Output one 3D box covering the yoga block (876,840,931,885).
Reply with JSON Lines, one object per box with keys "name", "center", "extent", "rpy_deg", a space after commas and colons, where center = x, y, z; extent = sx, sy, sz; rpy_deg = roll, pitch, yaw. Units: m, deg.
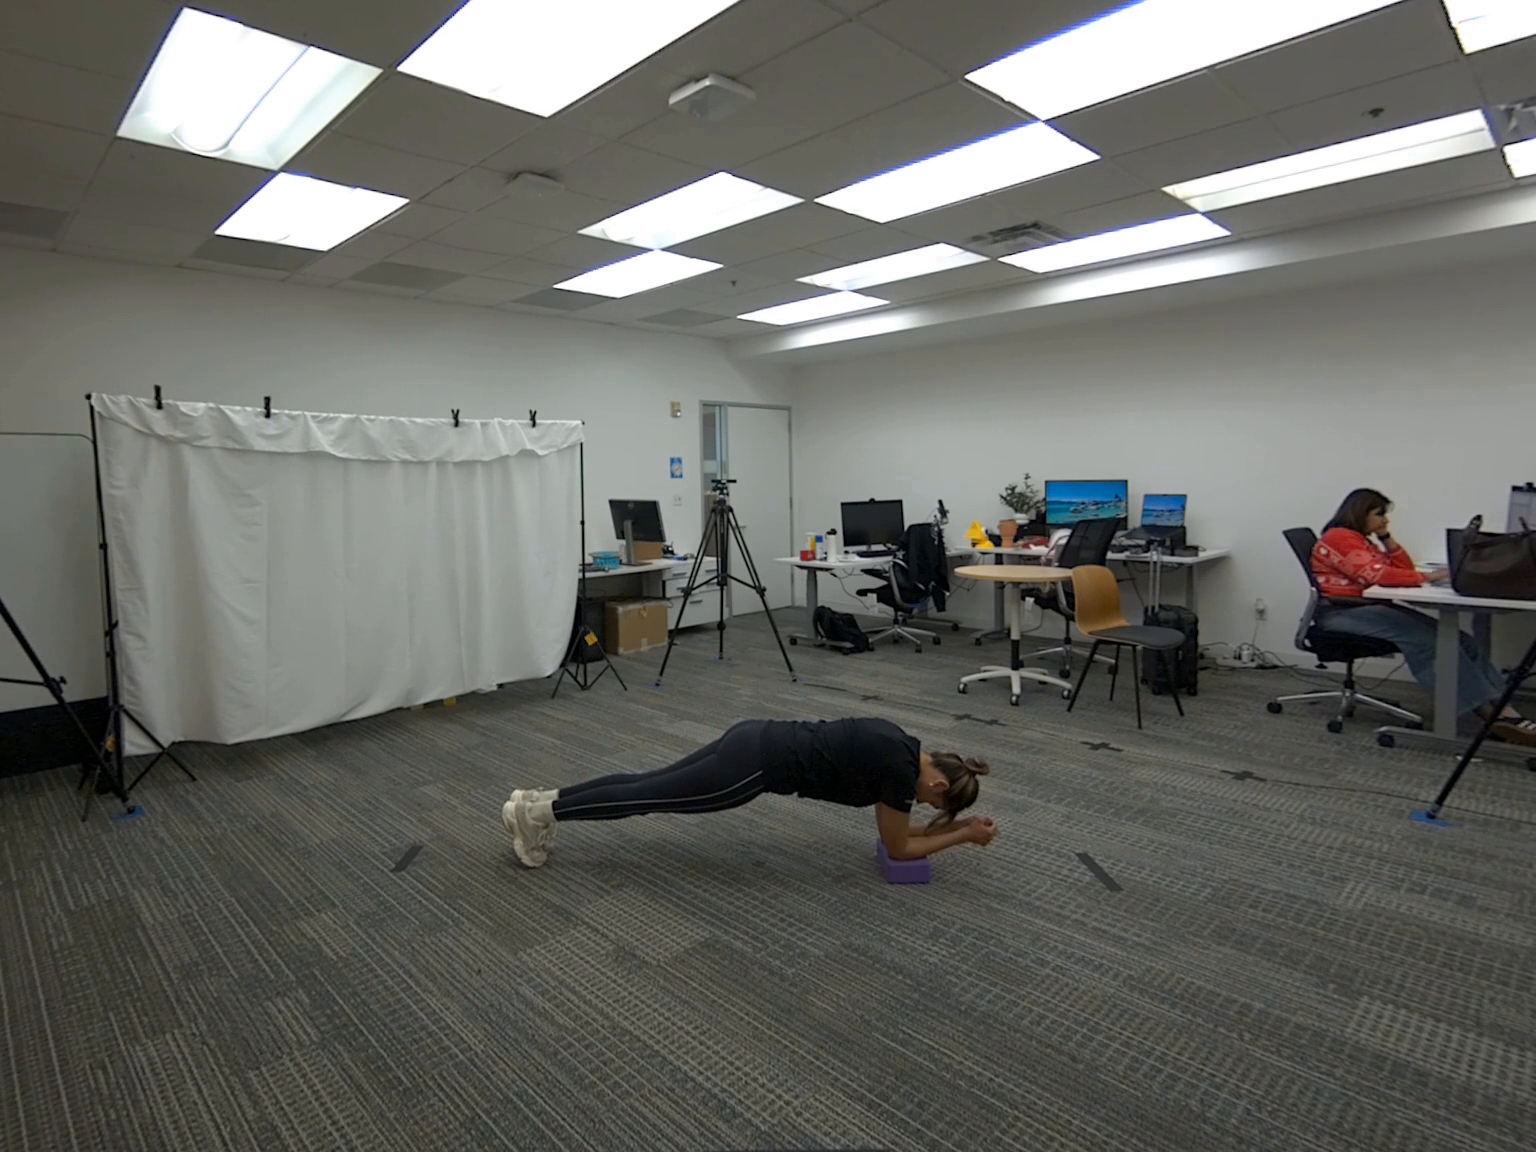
{"name": "yoga block", "center": [0.478, 1.003, 3.038], "extent": [0.149, 0.076, 0.230], "rpy_deg": [-1, 6, 1]}
